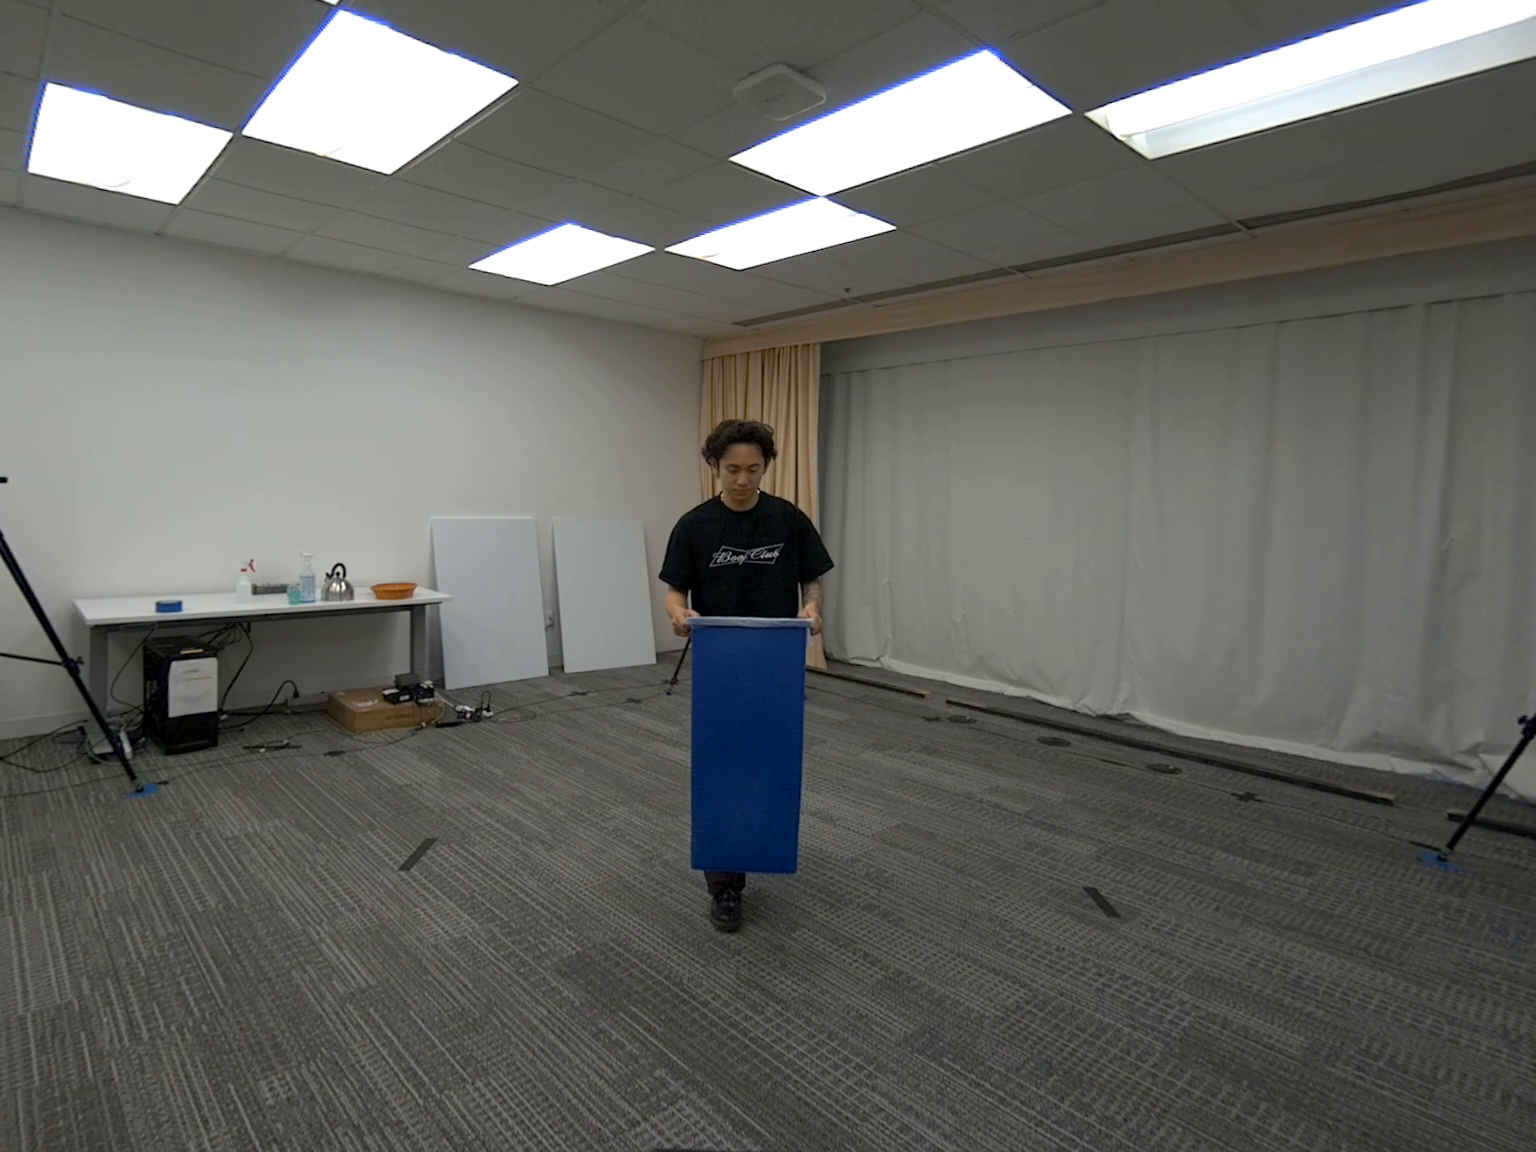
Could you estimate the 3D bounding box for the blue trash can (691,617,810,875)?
[{"bbox_3d":[-0.083,0.493,2.541,0.374,0.717,0.376,1,-6,-1],"label":"blue trash can"}]
